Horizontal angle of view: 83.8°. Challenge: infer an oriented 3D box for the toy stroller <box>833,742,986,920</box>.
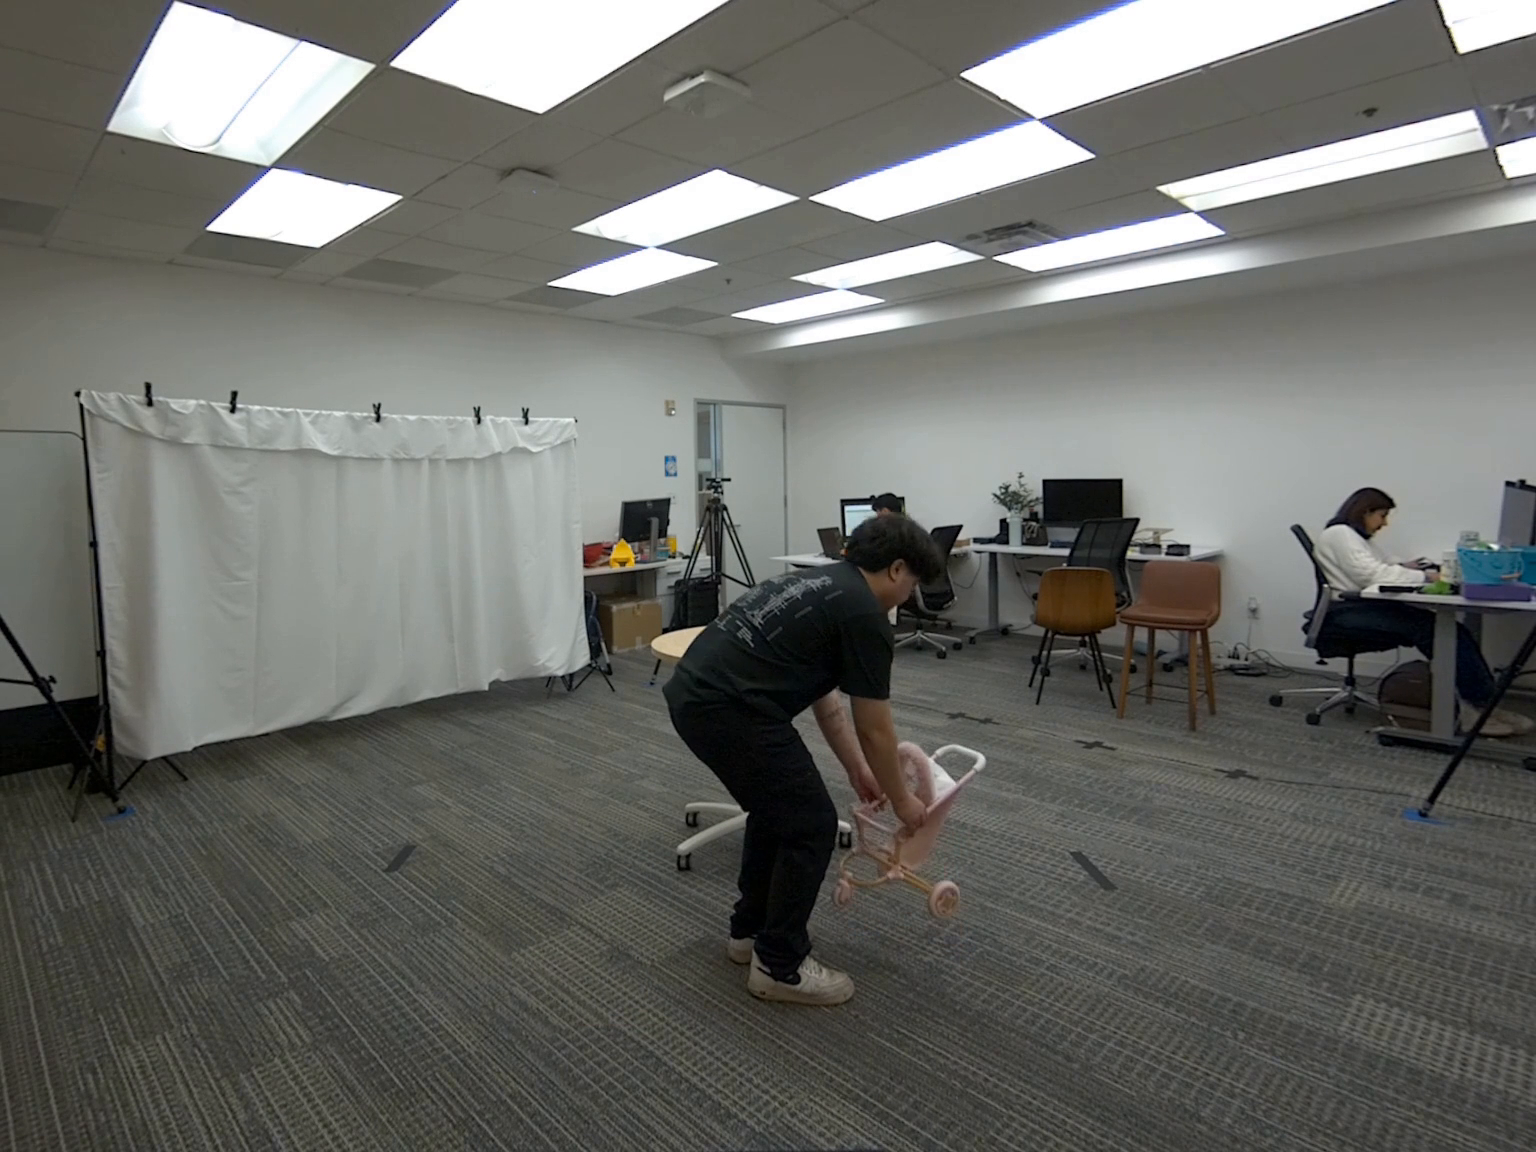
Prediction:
[{"bbox_3d":[0.401,0.728,2.520,0.334,0.536,0.287,19,-5,-19],"label":"toy stroller"}]
